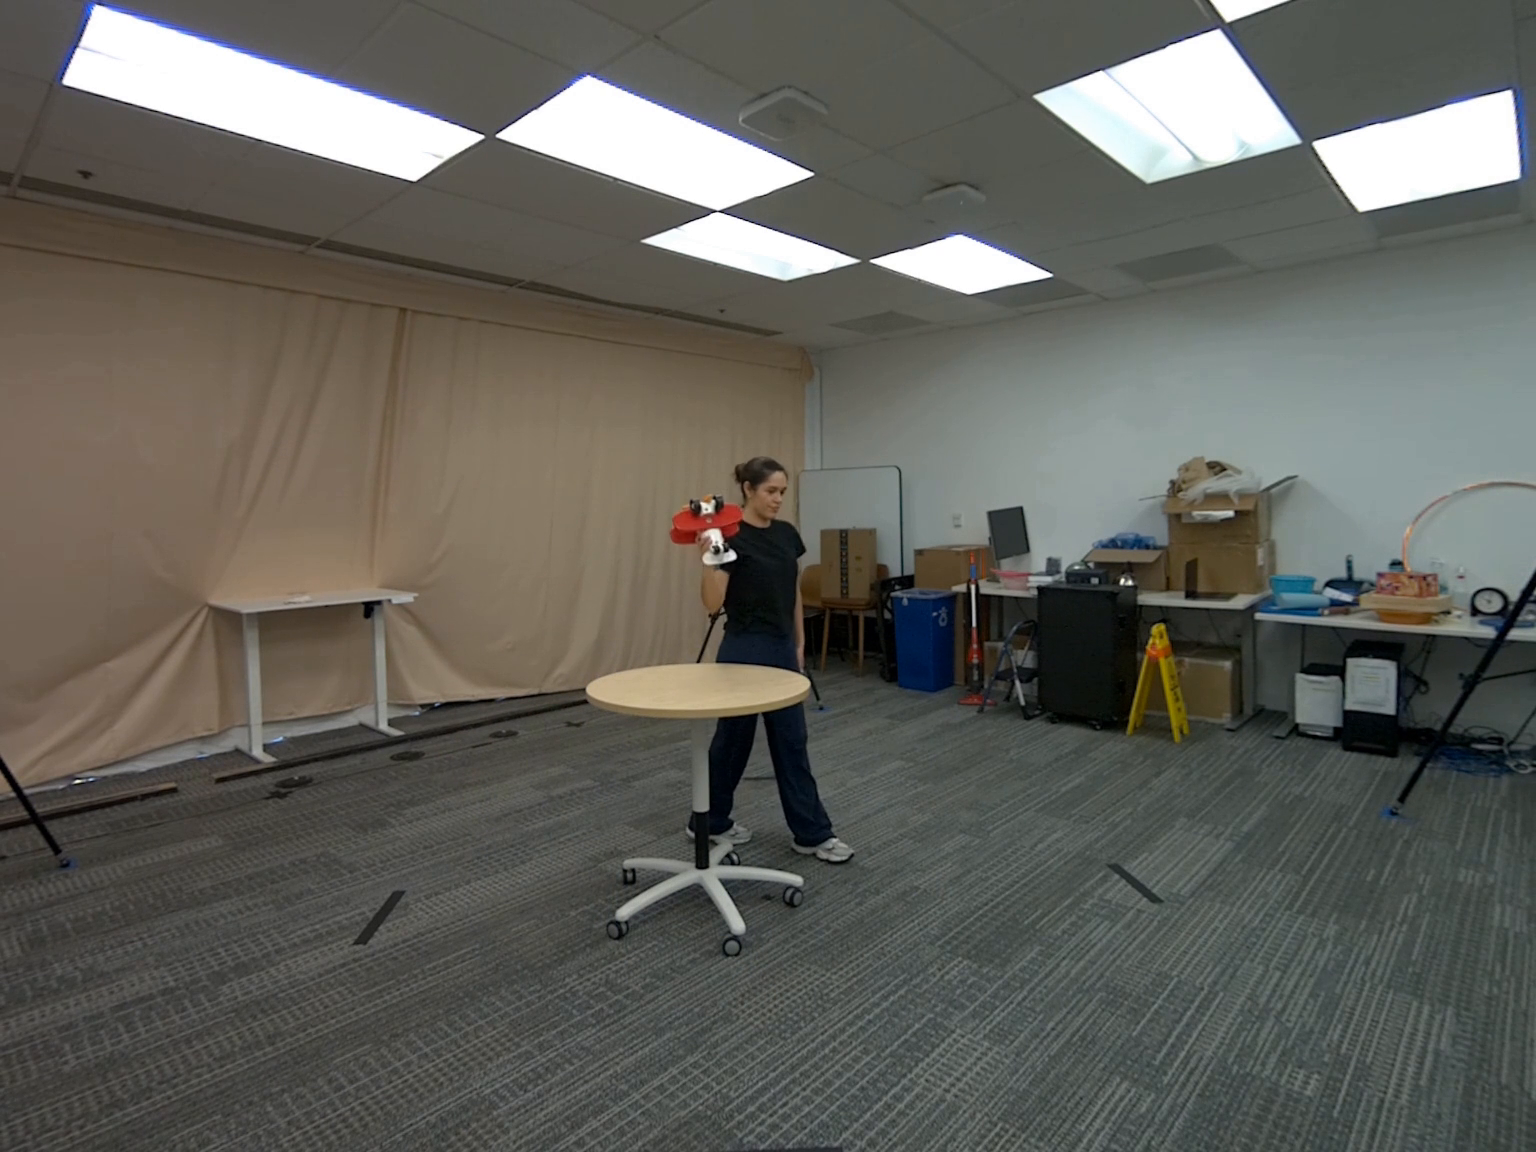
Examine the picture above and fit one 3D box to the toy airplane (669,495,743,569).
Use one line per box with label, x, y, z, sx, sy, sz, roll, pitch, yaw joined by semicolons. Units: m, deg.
toy airplane;-0.181;-0.159;2.951;0.249;0.261;0.156;16;-24;-7
